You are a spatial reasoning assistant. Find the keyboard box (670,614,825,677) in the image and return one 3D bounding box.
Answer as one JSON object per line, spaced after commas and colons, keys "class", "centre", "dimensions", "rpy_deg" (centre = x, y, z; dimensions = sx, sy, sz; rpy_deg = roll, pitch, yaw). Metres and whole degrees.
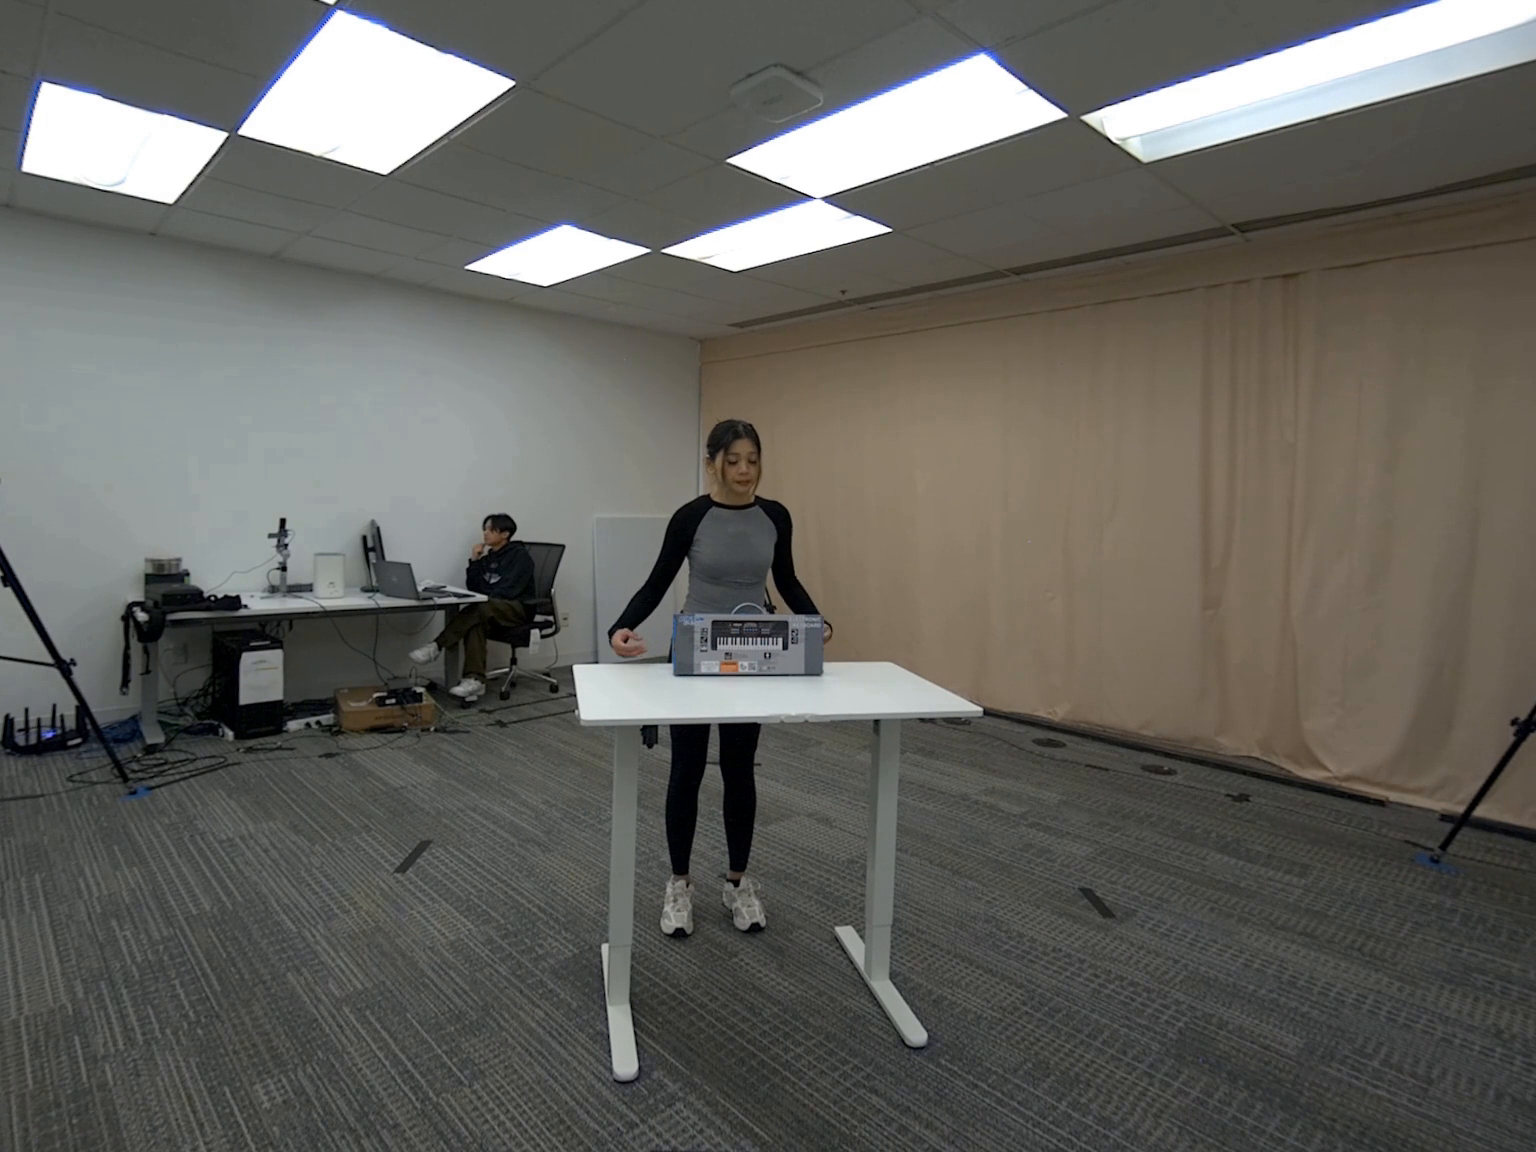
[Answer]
{"class": "keyboard box", "centre": [-0.064, 0.198, 2.442], "dimensions": [0.433, 0.176, 0.059], "rpy_deg": [2, -1, -10]}
